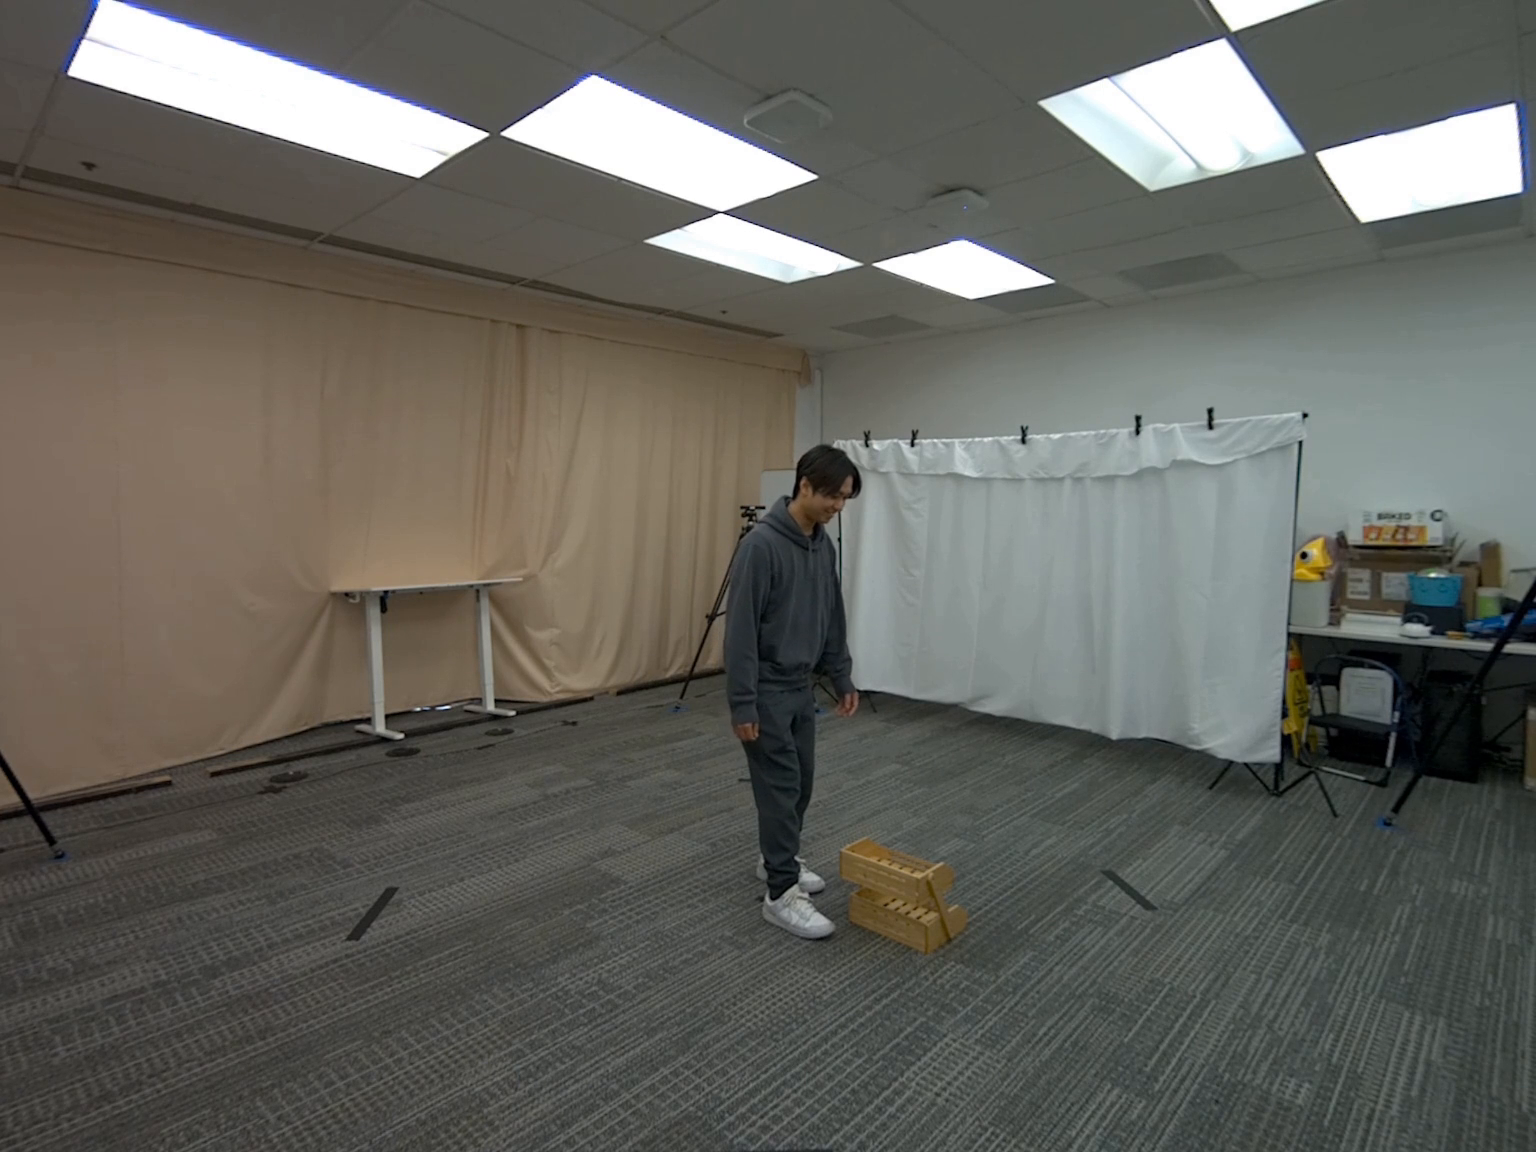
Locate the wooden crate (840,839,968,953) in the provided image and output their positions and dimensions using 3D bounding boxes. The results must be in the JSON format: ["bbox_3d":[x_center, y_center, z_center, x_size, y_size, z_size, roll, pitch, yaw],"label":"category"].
[{"bbox_3d":[0.456,1.030,2.777,0.335,0.272,0.293,3,6,43],"label":"wooden crate"}]
